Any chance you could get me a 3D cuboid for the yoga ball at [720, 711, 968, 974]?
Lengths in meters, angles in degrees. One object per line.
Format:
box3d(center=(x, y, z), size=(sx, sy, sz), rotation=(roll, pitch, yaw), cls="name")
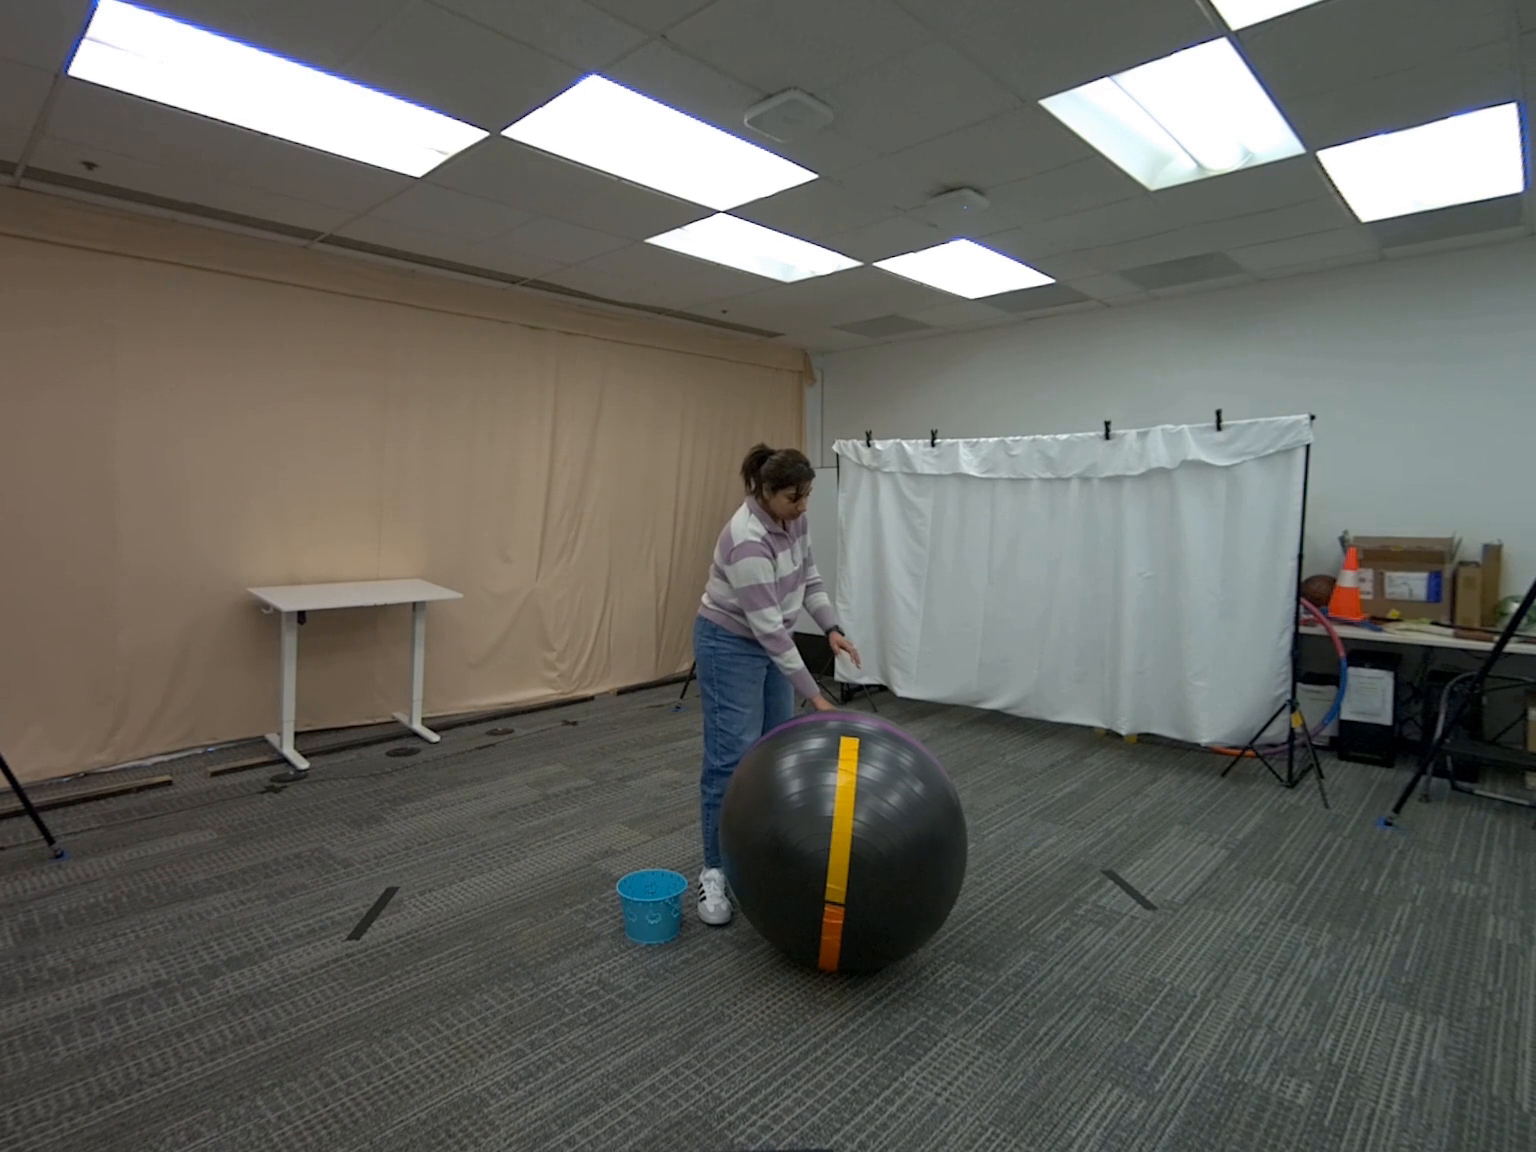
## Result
box3d(center=(0.234, 0.810, 2.587), size=(0.757, 0.756, 0.760), rotation=(0, 4, -2), cls="yoga ball")
